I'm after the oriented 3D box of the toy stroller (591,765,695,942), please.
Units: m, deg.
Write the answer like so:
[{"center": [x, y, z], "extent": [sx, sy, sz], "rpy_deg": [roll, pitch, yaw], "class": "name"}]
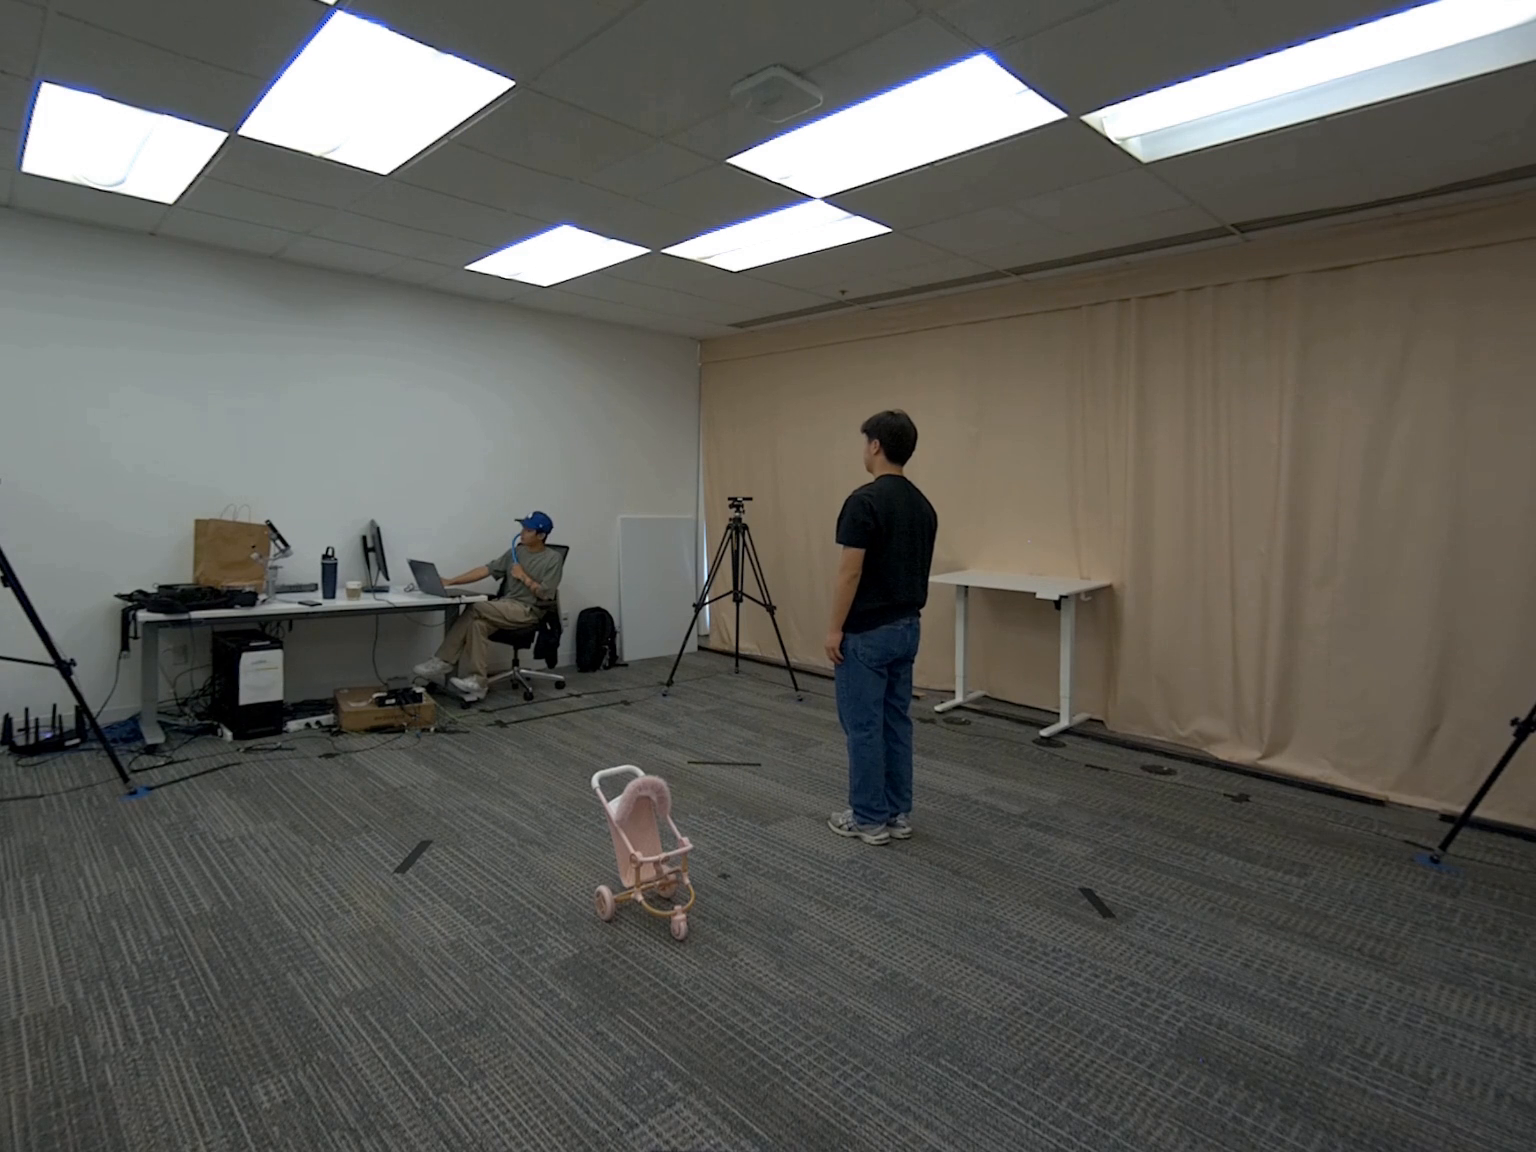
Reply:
[{"center": [-0.409, 0.906, 2.783], "extent": [0.275, 0.539, 0.346], "rpy_deg": [-1, -11, -37], "class": "toy stroller"}]
